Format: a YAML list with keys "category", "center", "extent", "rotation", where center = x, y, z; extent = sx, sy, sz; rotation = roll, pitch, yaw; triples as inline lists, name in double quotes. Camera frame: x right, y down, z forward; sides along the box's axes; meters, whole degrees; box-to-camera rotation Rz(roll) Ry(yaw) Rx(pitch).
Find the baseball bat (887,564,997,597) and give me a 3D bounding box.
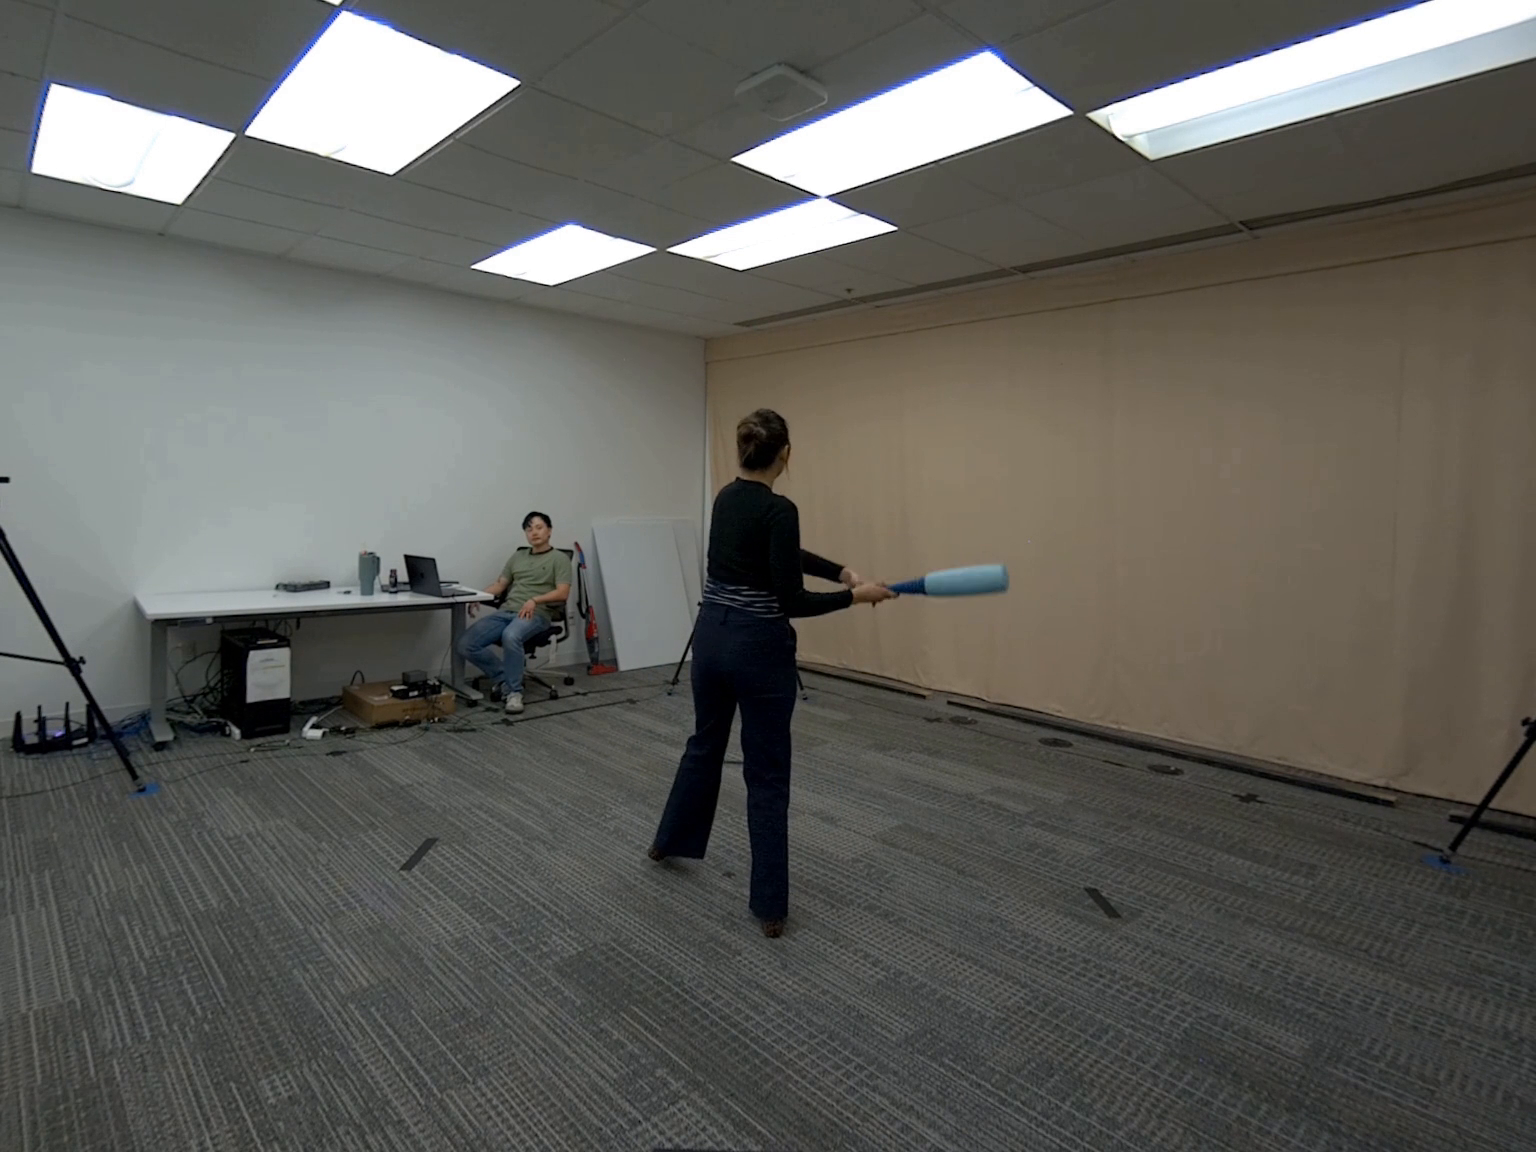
- category: "baseball bat"
  center: [0.418, 0.037, 2.722]
  extent: [0.552, 0.089, 0.087]
  rotation: [-8, -1, 30]
